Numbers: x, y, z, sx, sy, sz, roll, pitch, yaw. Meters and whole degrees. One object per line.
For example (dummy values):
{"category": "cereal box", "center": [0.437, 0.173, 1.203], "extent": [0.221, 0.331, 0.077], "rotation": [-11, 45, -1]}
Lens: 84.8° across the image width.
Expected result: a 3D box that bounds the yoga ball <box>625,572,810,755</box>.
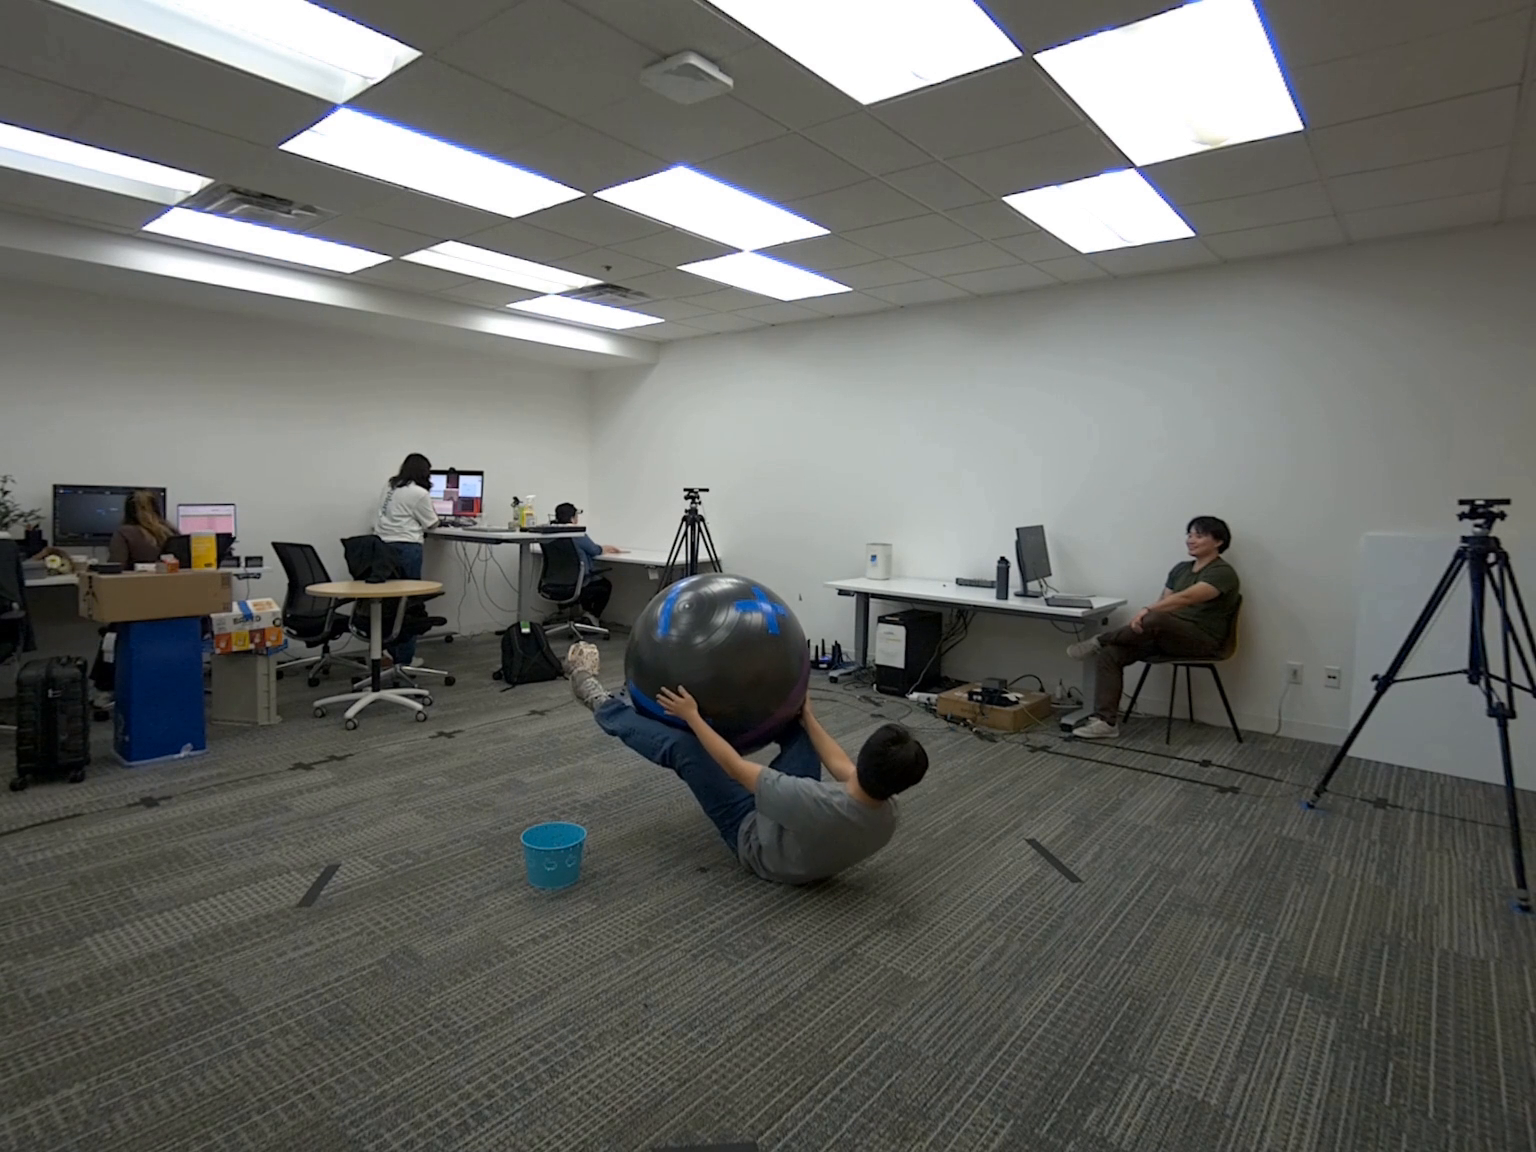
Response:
{"category": "yoga ball", "center": [-0.216, 0.353, 3.488], "extent": [0.757, 0.756, 0.761], "rotation": [1, 4, -2]}
